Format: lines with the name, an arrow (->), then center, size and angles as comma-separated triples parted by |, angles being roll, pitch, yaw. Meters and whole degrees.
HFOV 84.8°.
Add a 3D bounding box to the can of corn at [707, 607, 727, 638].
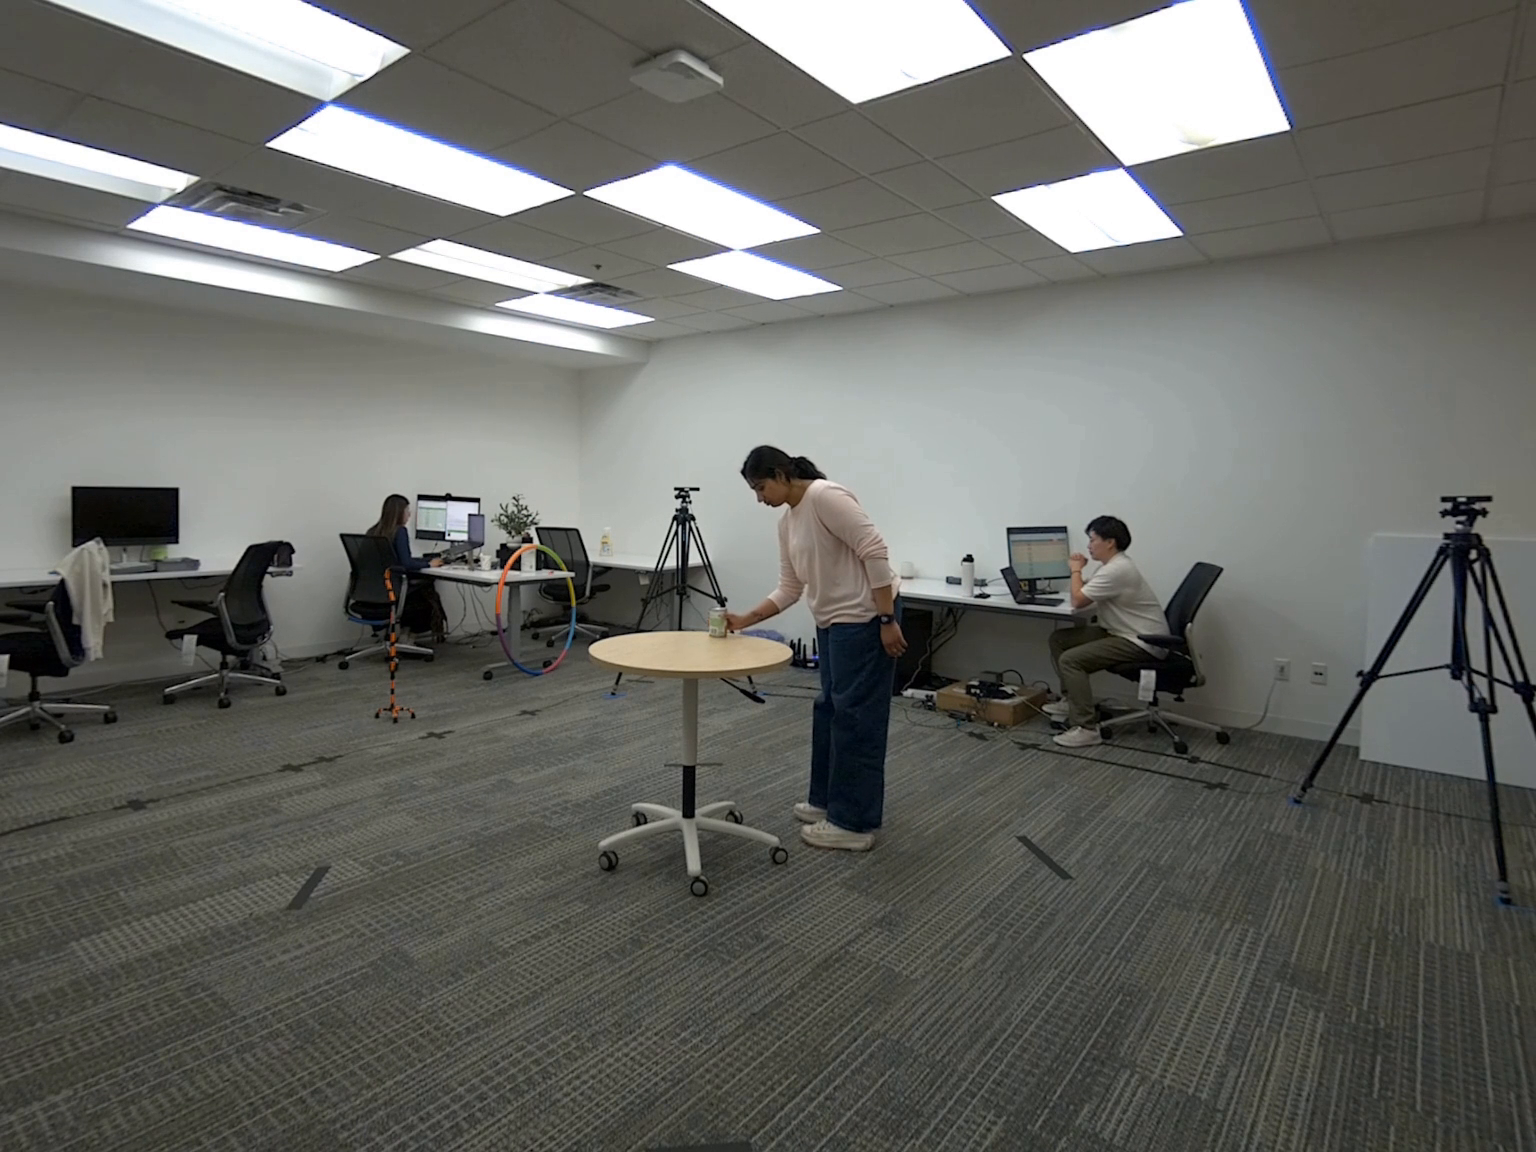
can of corn -> -0.217, 0.190, 3.496 | 0.074, 0.111, 0.074 | 3, 4, -2
